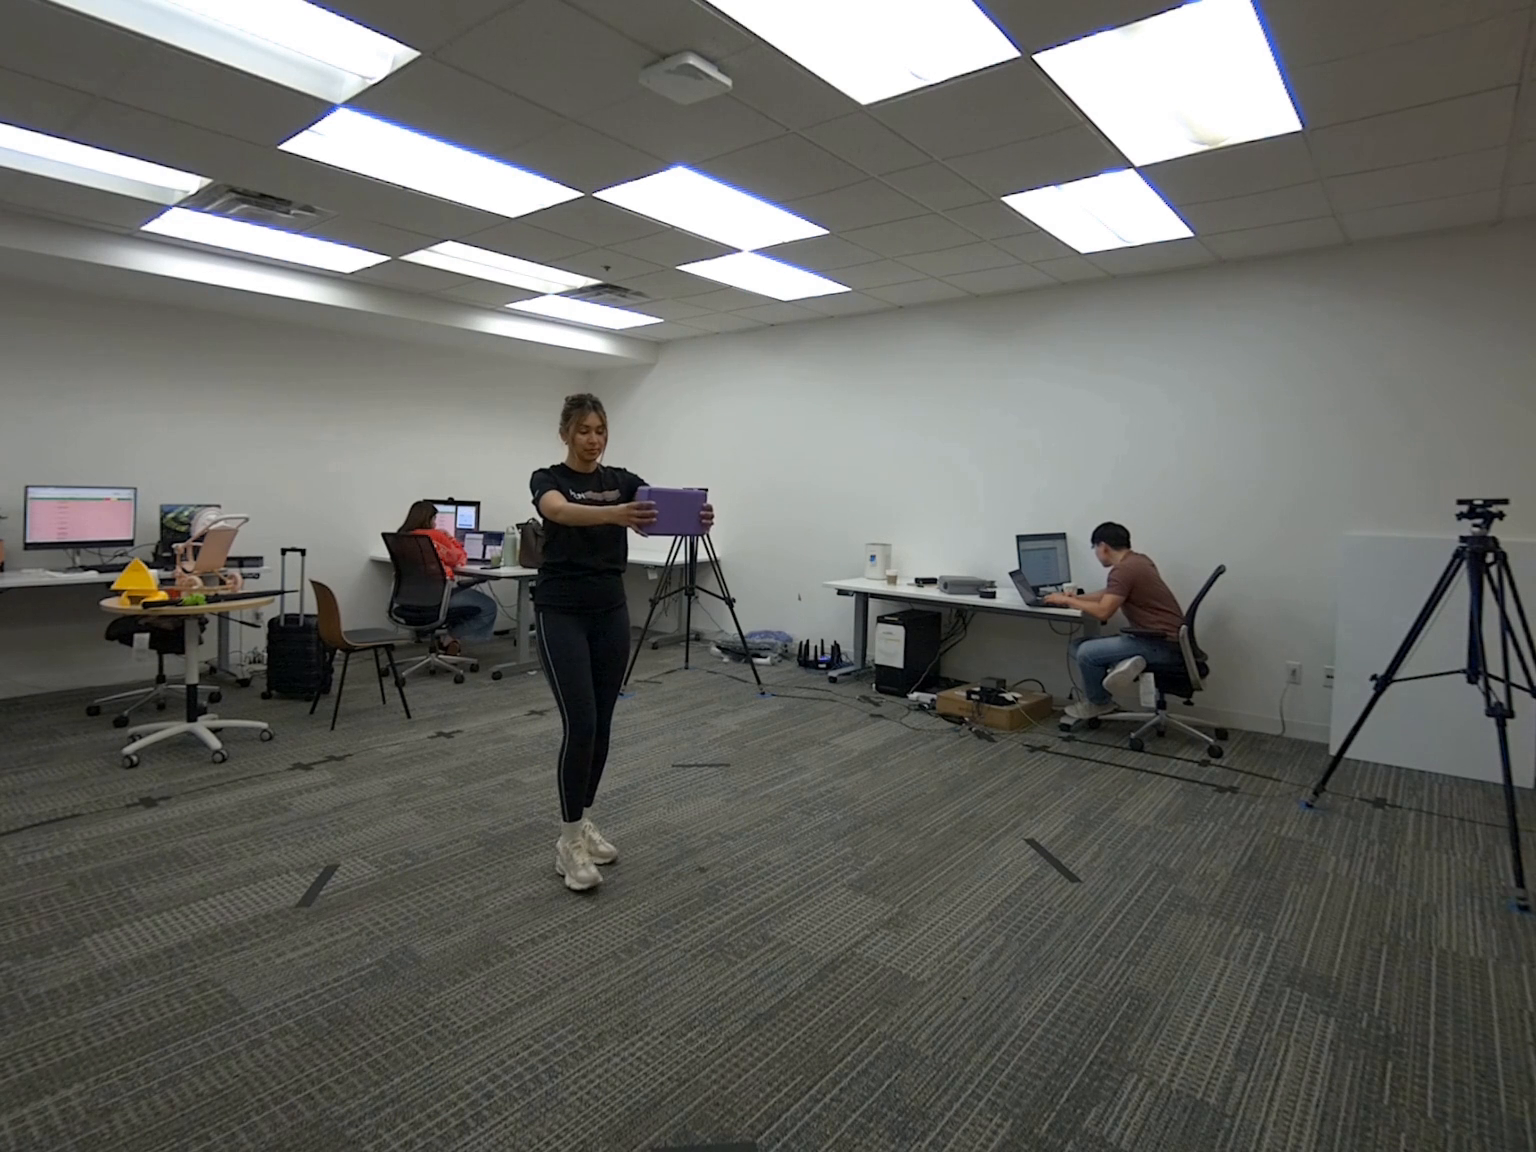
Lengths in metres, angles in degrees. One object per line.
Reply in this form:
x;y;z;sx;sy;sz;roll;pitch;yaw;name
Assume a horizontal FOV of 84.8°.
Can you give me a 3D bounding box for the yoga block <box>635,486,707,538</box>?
-0.323;-0.205;2.666;0.223;0.148;0.079;2;8;-28;yoga block
